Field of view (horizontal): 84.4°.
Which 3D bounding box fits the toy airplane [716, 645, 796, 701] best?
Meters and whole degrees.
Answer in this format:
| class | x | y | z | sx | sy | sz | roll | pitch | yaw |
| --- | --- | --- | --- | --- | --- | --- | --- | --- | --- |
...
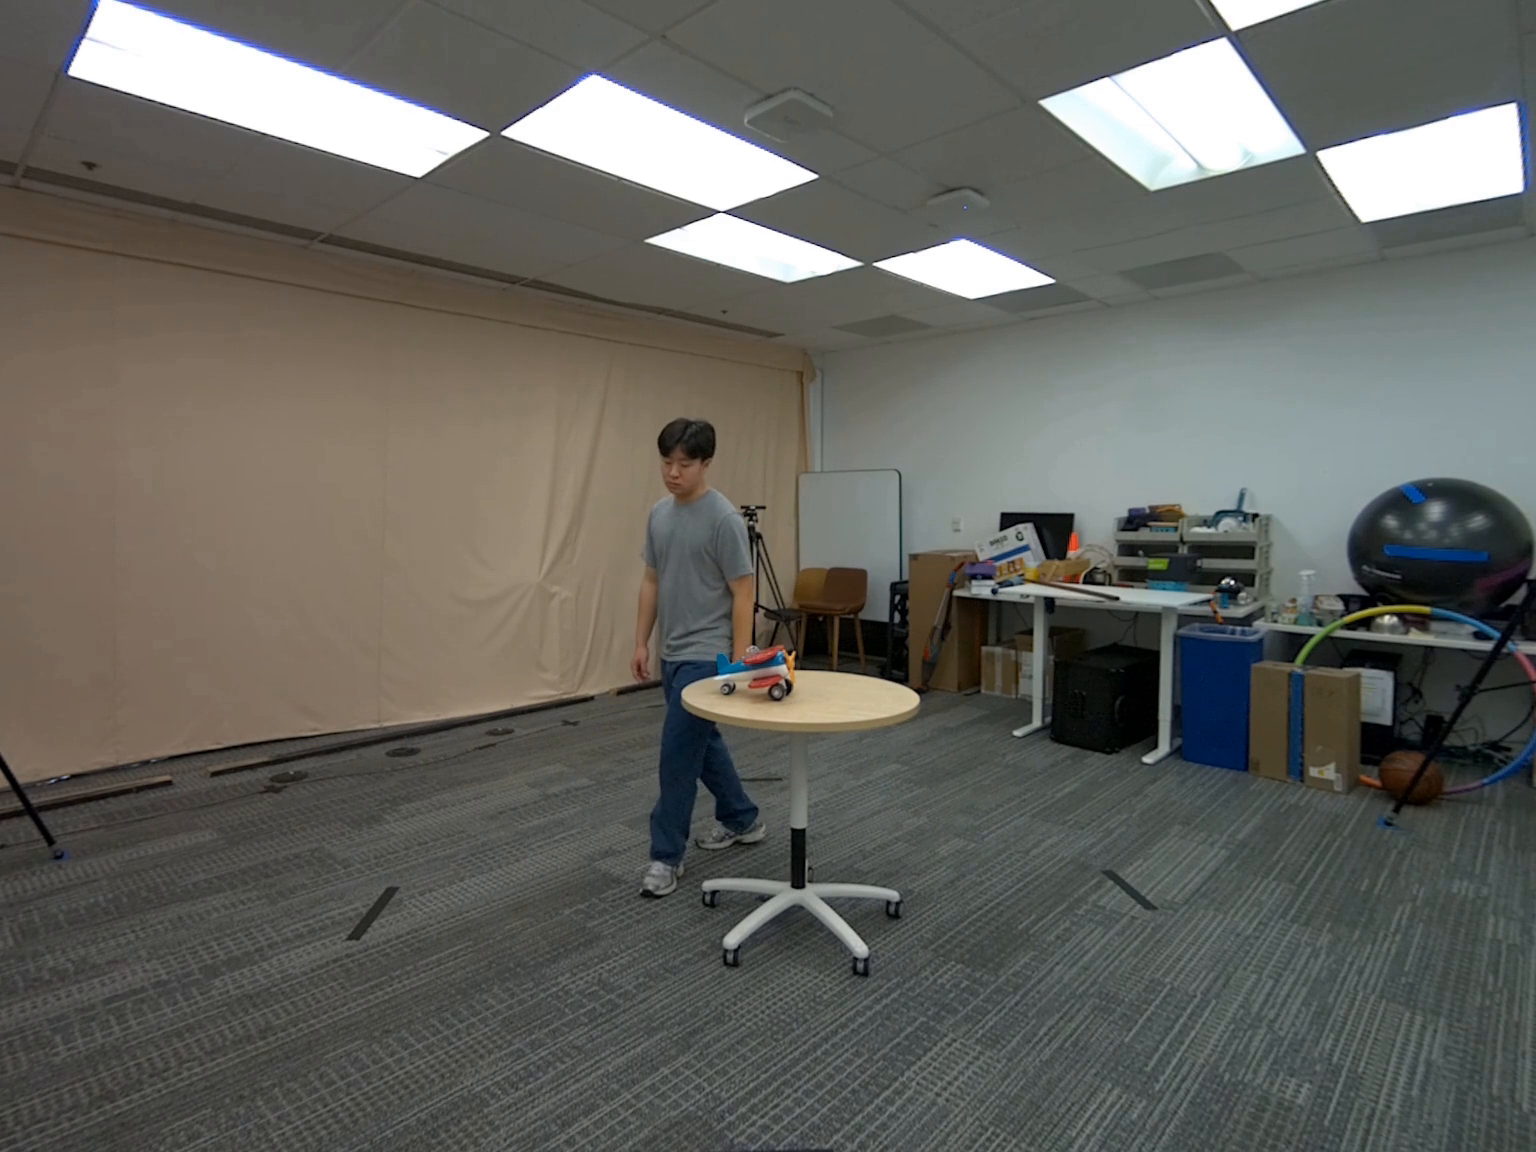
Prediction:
| class | x | y | z | sx | sy | sz | roll | pitch | yaw |
| --- | --- | --- | --- | --- | --- | --- | --- | --- | --- |
| toy airplane | -0.035 | 0.308 | 2.675 | 0.257 | 0.156 | 0.254 | 1 | 3 | -9 |
